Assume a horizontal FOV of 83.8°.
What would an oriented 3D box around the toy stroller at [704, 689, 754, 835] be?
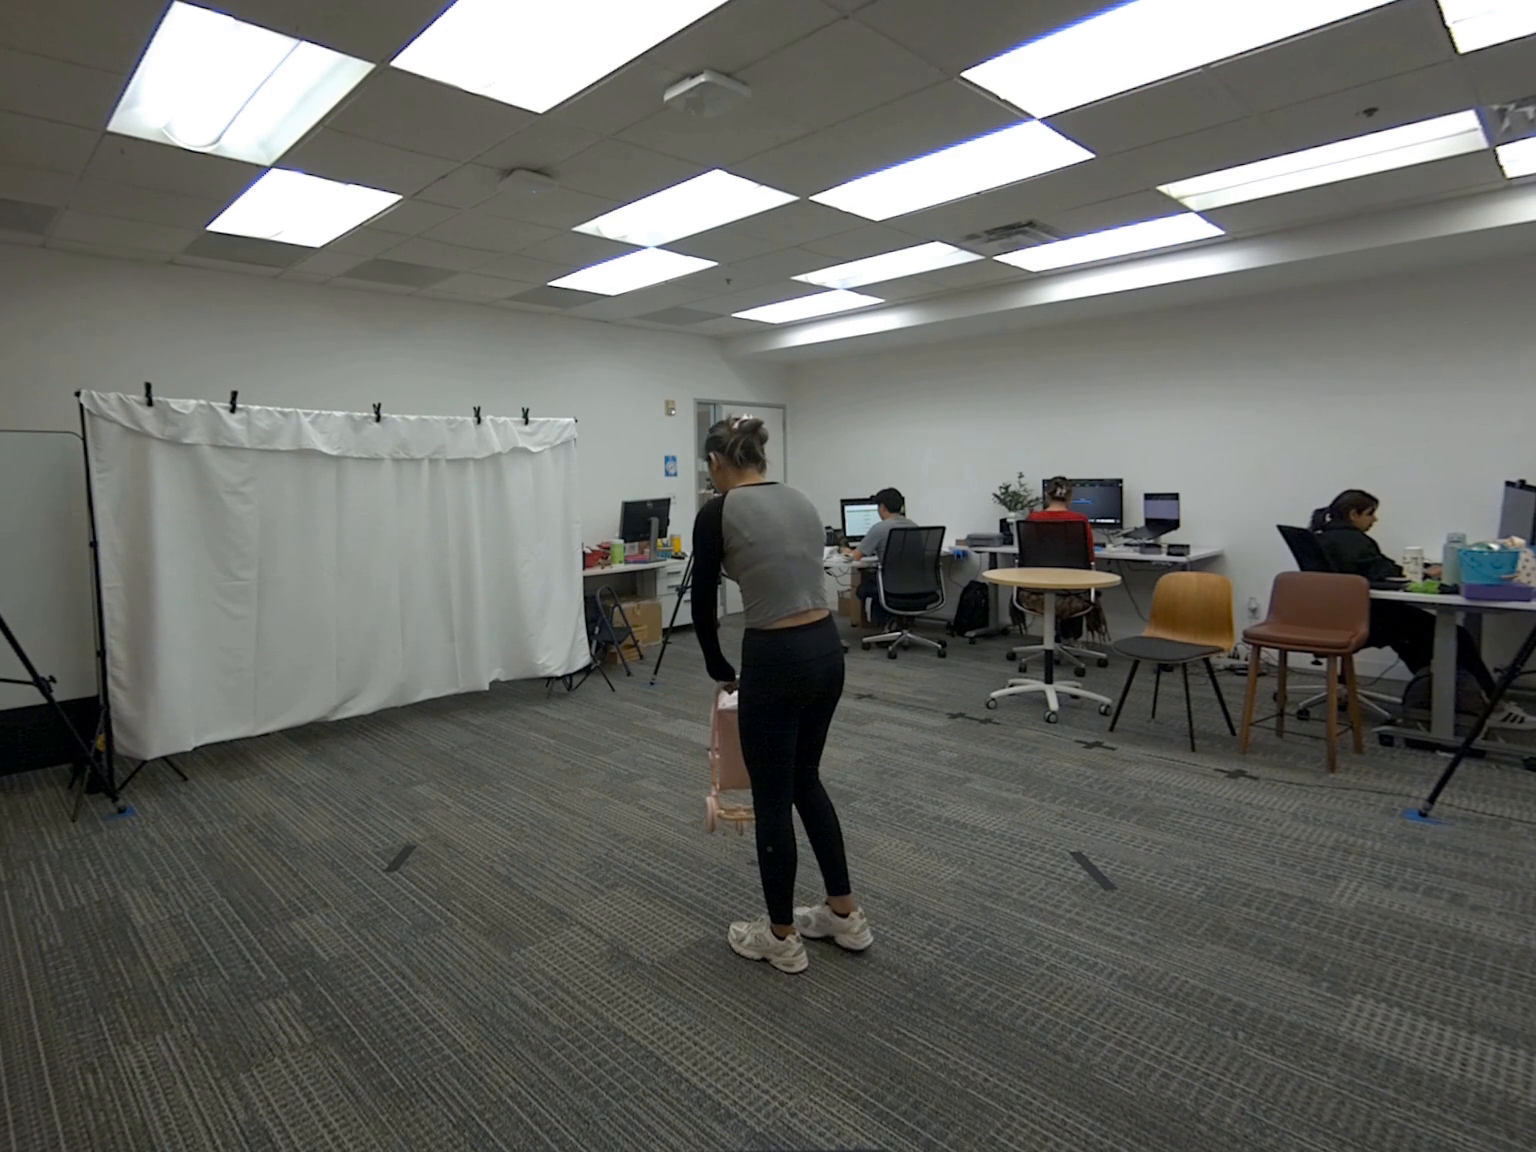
[{"bbox_3d":[-0.079,0.603,2.833,0.280,0.539,0.340,-2,-8,-5],"label":"toy stroller"}]
